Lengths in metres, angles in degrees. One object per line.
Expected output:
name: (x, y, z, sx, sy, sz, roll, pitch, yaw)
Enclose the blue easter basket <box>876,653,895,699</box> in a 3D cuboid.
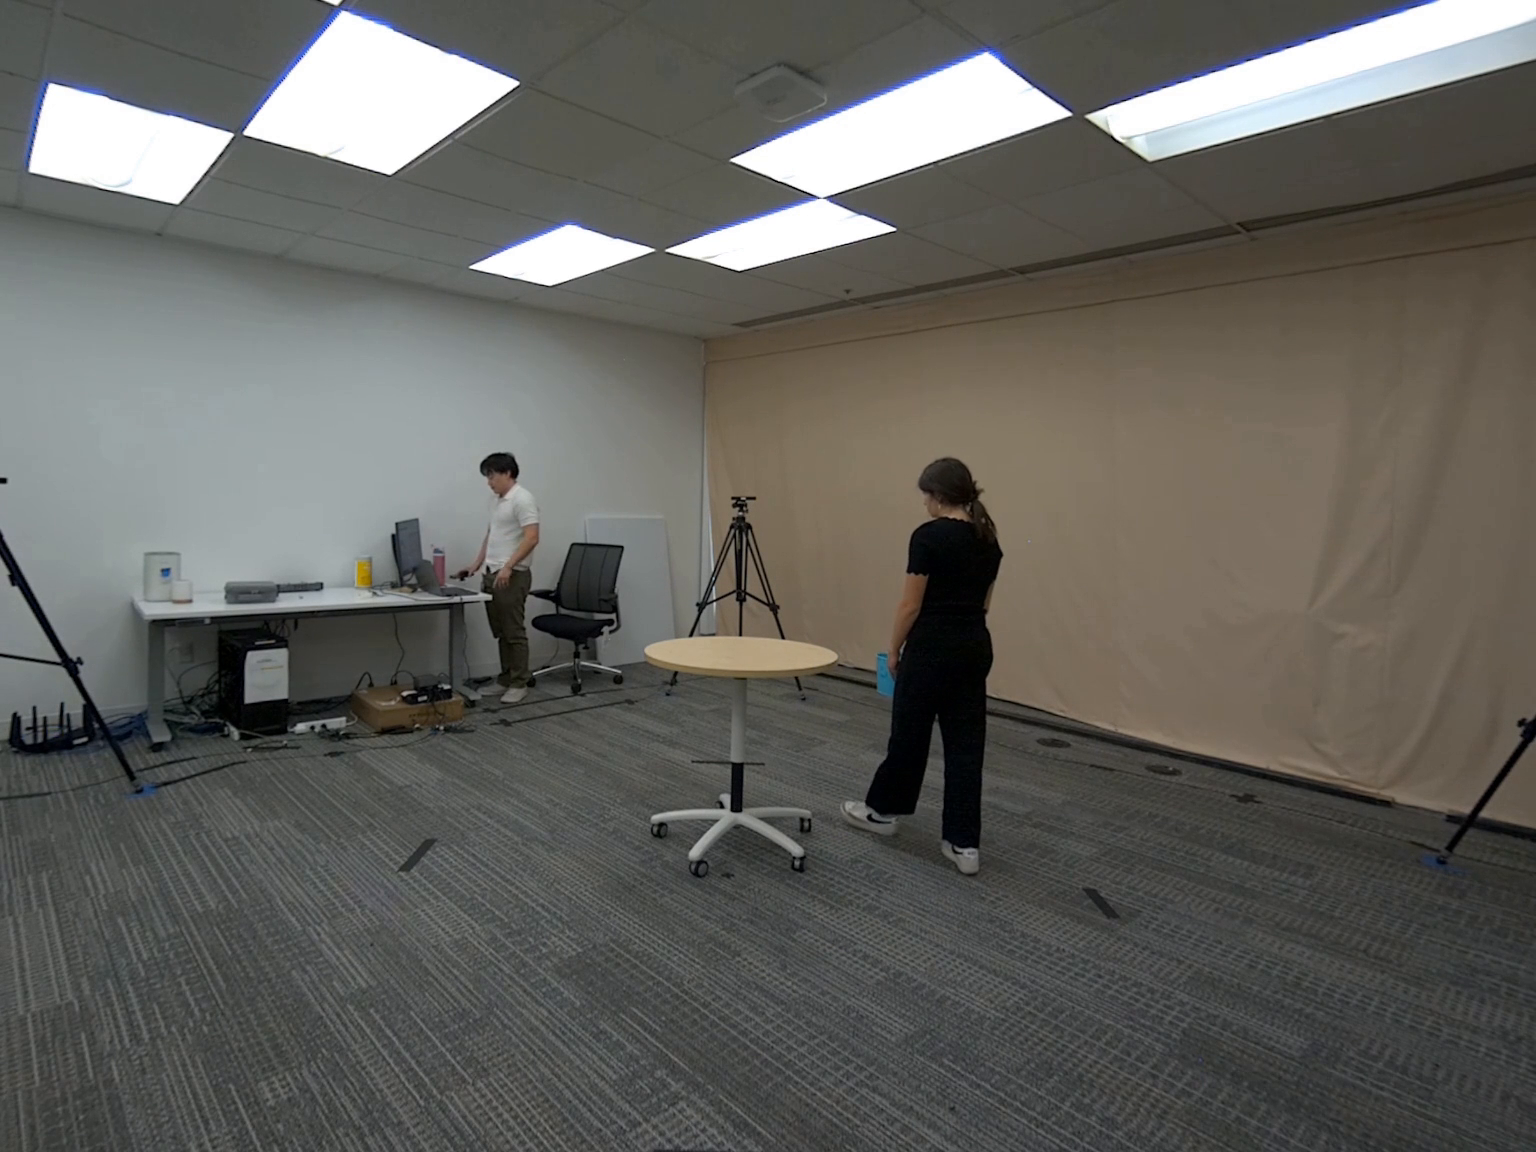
blue easter basket: (0.565, 0.417, 3.533, 0.243, 0.156, 0.244, 10, 1, -2)
